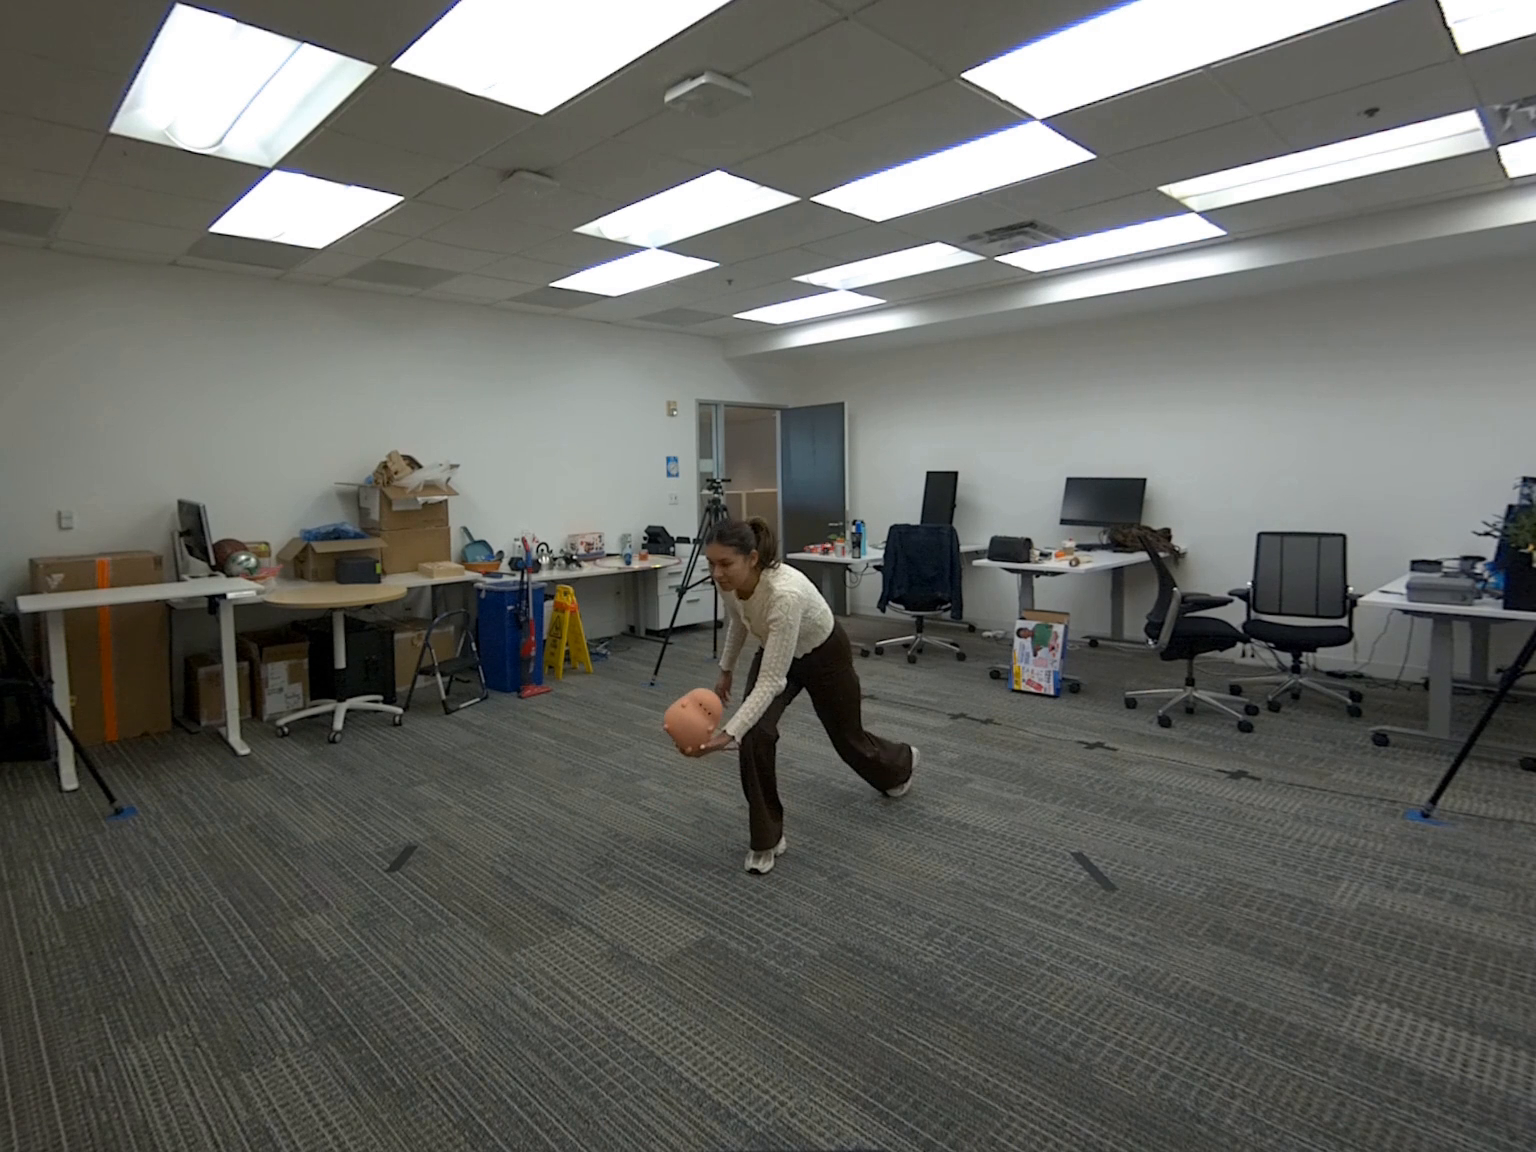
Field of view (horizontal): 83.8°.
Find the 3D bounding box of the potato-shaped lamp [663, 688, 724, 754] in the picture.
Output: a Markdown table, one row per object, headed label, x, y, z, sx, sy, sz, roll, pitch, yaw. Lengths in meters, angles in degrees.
| label | x | y | z | sx | sy | sz | roll | pitch | yaw |
| --- | --- | --- | --- | --- | --- | --- | --- | --- | --- |
| potato-shaped lamp | -0.228 | 0.460 | 2.764 | 0.198 | 0.165 | 0.171 | -45 | -2 | -7 |
